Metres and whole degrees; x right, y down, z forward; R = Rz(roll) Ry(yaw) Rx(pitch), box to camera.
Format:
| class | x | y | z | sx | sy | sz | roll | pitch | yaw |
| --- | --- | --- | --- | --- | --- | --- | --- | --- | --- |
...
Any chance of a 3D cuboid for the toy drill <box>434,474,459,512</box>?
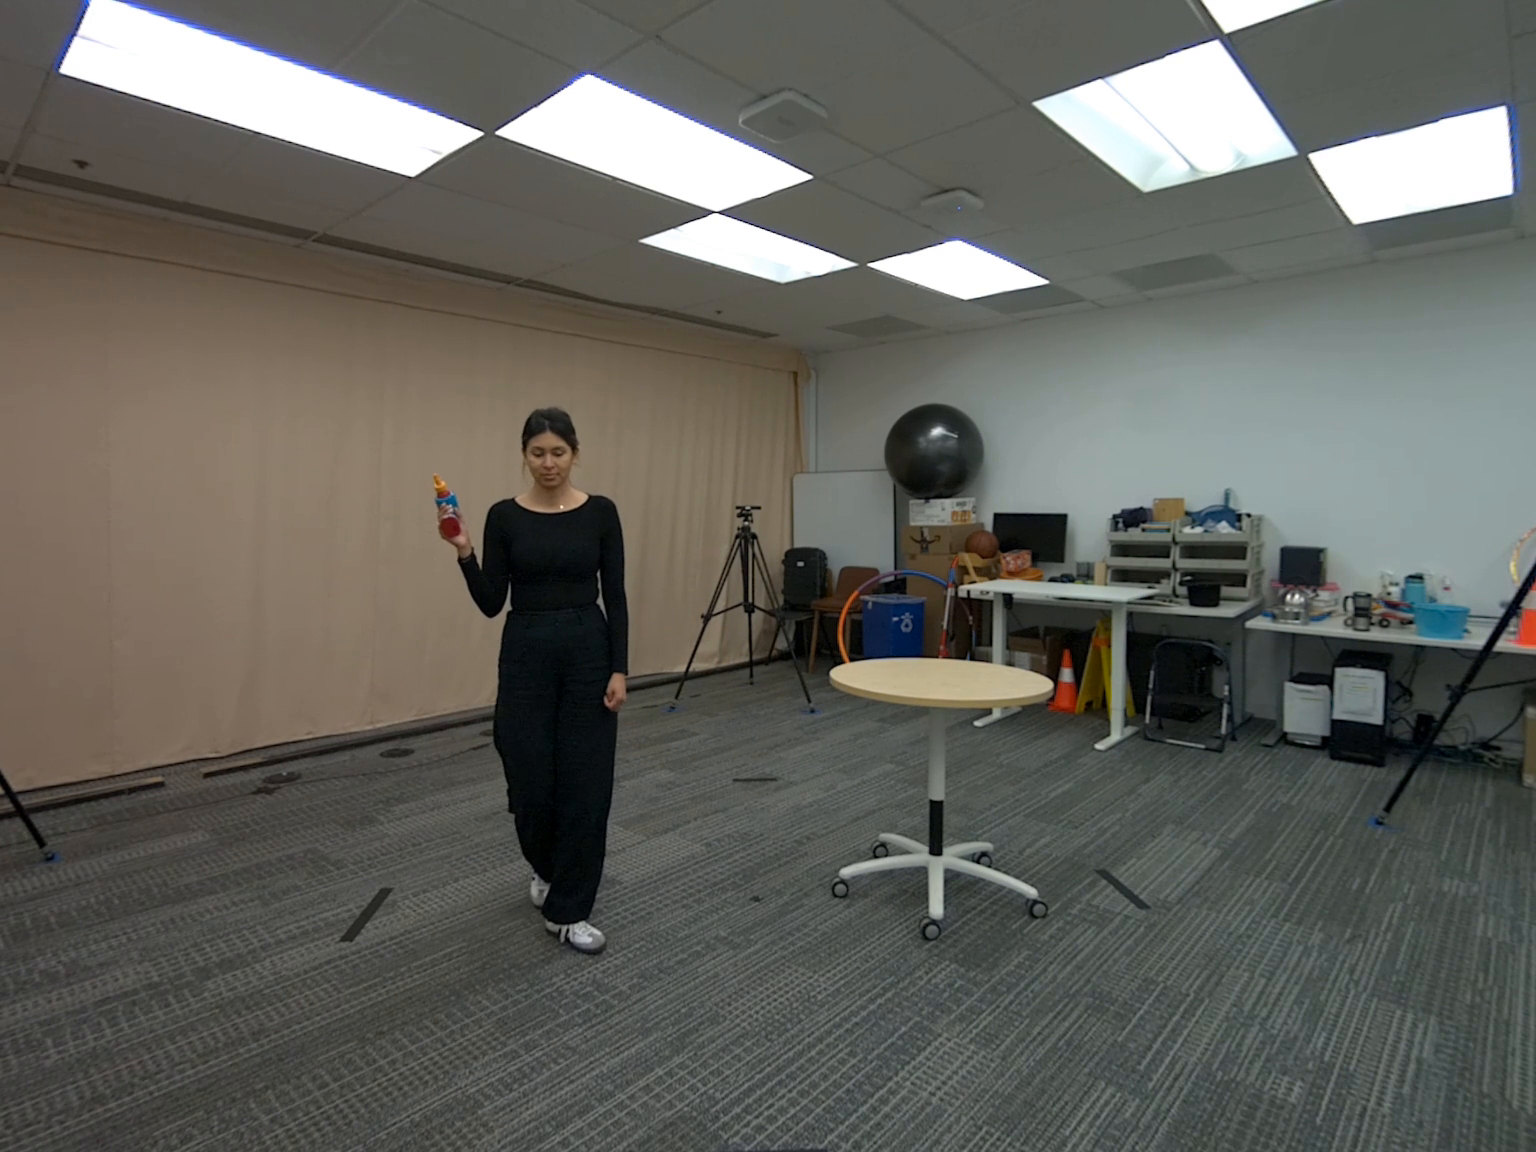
| class | x | y | z | sx | sy | sz | roll | pitch | yaw |
| --- | --- | --- | --- | --- | --- | --- | --- | --- | --- |
| toy drill | -0.965 | -0.212 | 2.491 | 0.061 | 0.166 | 0.150 | -13 | 37 | -6 |
